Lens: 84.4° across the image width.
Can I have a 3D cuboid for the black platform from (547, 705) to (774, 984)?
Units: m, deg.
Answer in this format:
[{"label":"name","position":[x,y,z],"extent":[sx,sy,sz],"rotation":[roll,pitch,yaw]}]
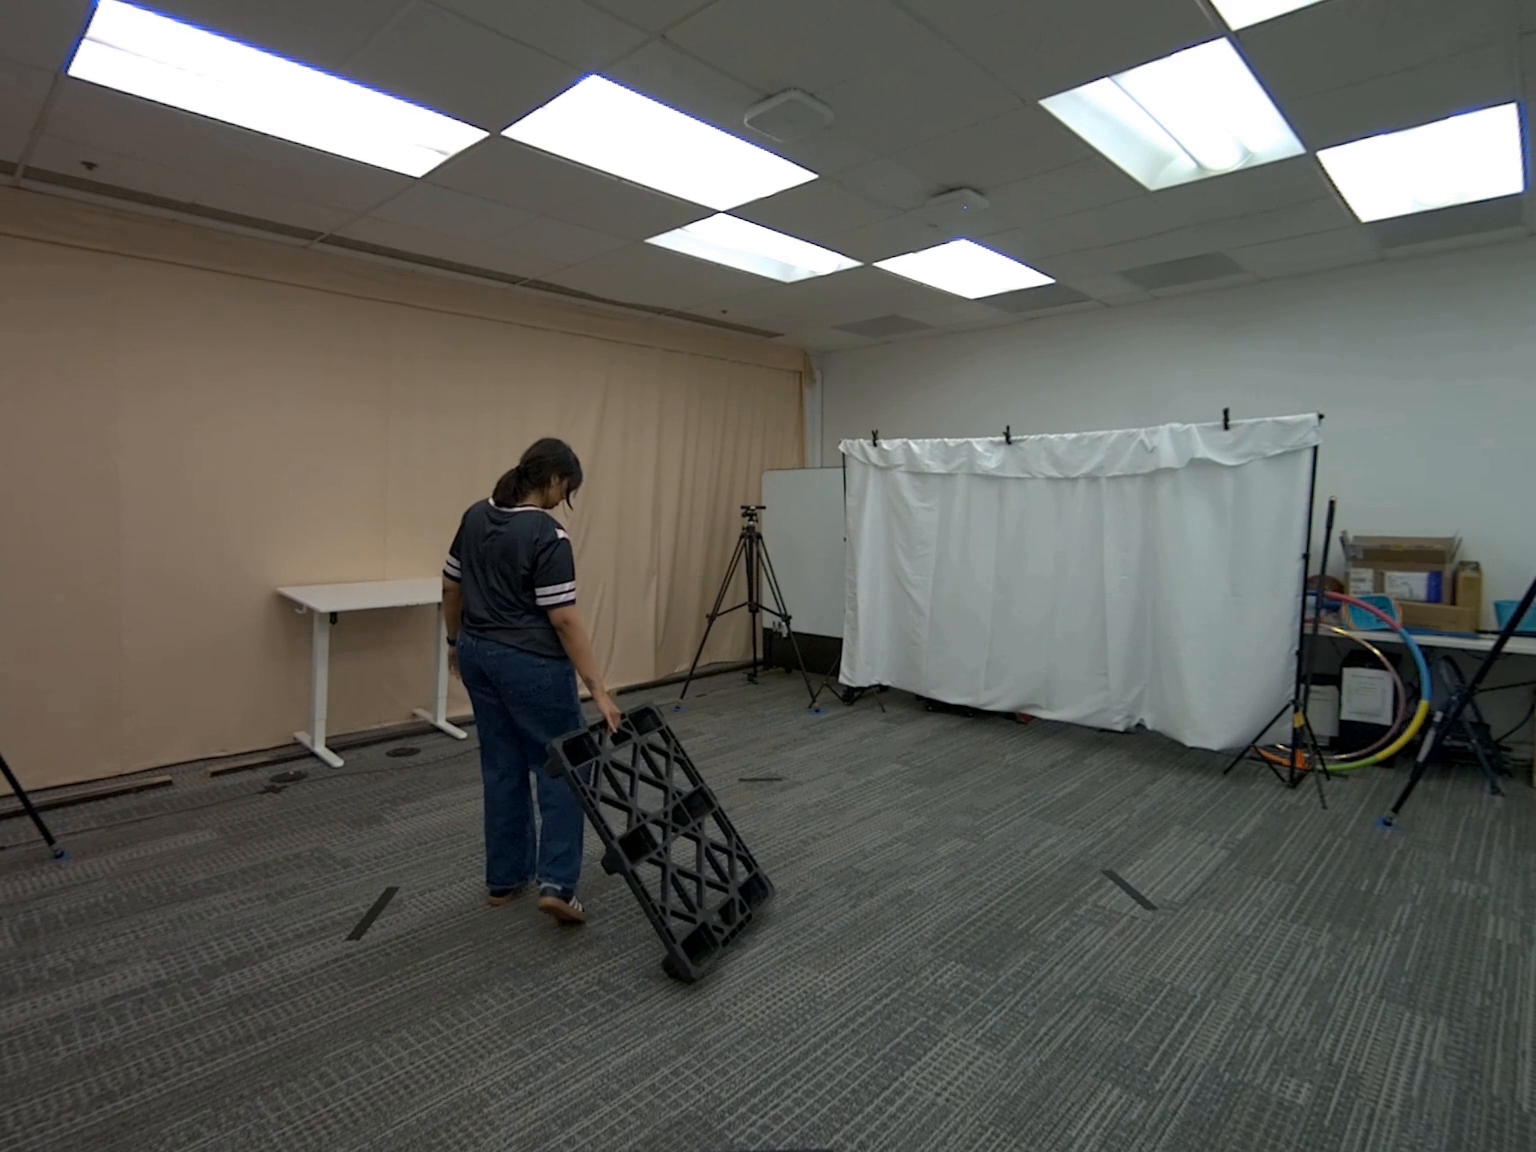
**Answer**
[{"label":"black platform","position":[-0.352,0.839,2.744],"extent":[0.144,0.818,0.591],"rotation":[-41,-14,23]}]
